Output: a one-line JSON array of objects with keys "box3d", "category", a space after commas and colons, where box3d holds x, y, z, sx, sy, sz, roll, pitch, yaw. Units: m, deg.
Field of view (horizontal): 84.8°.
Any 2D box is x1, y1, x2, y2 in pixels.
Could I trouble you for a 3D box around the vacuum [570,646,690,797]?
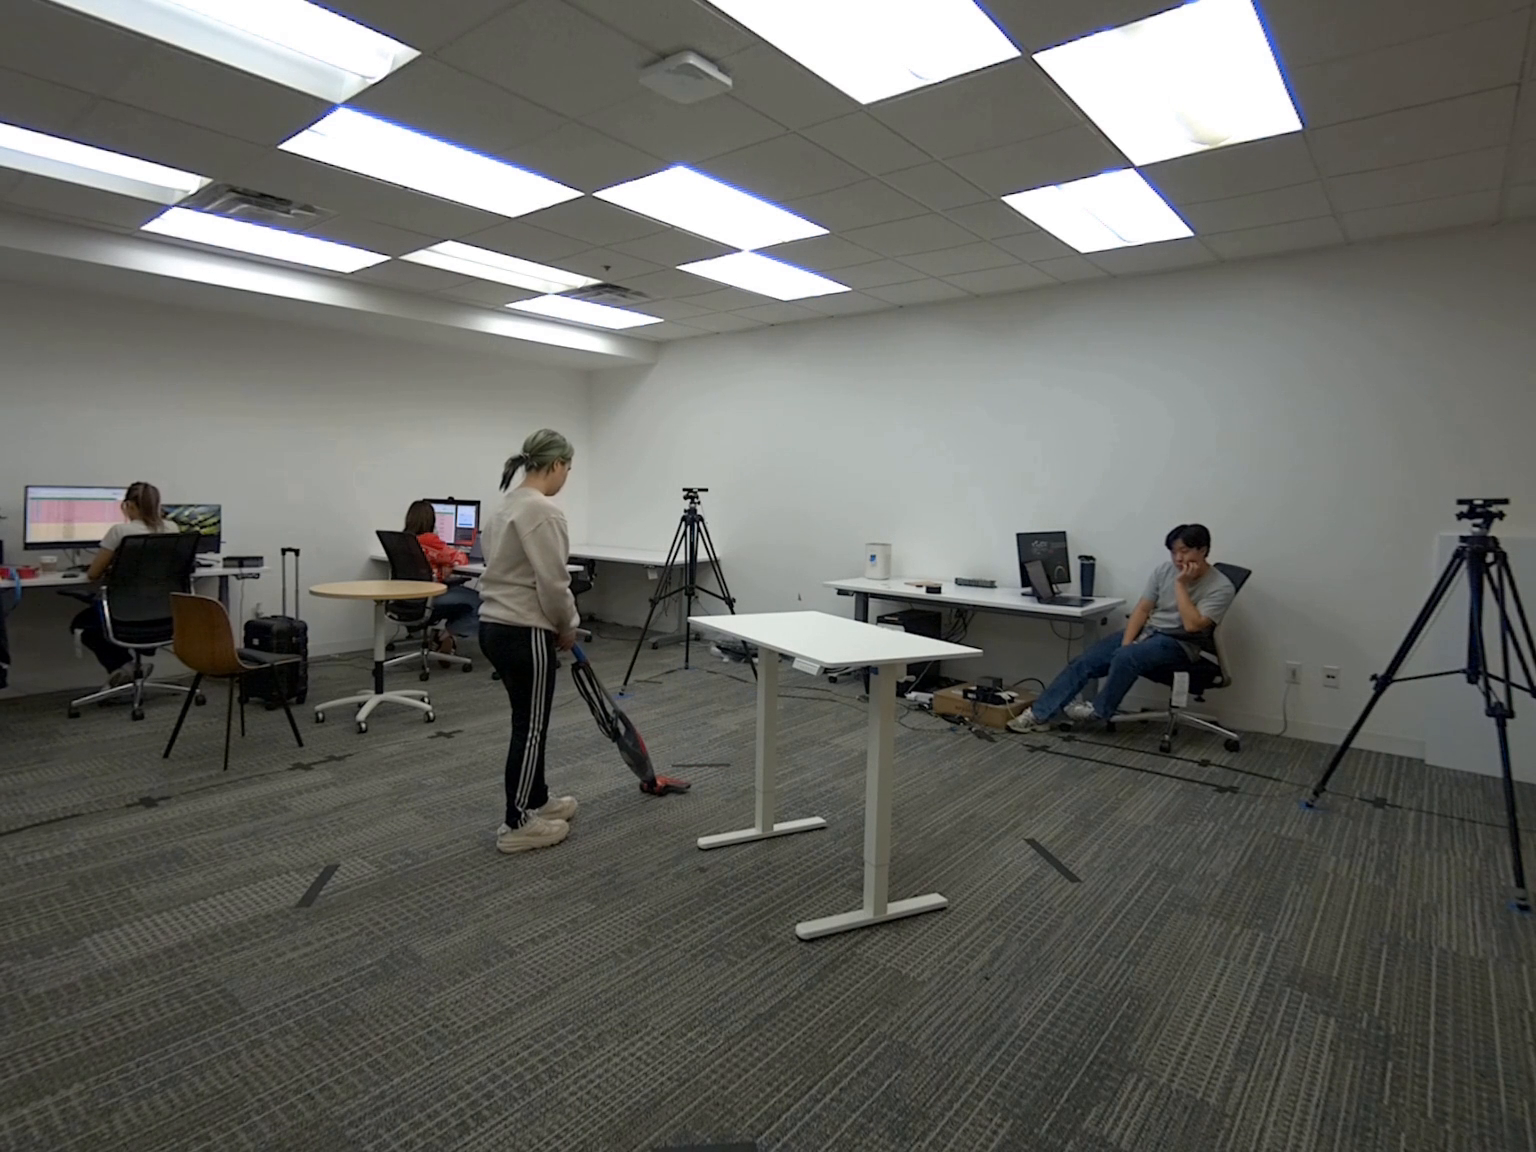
[{"box3d": [-0.673, 0.616, 3.636, 0.259, 1.010, 0.146, -2, 43, 29], "category": "vacuum"}]
